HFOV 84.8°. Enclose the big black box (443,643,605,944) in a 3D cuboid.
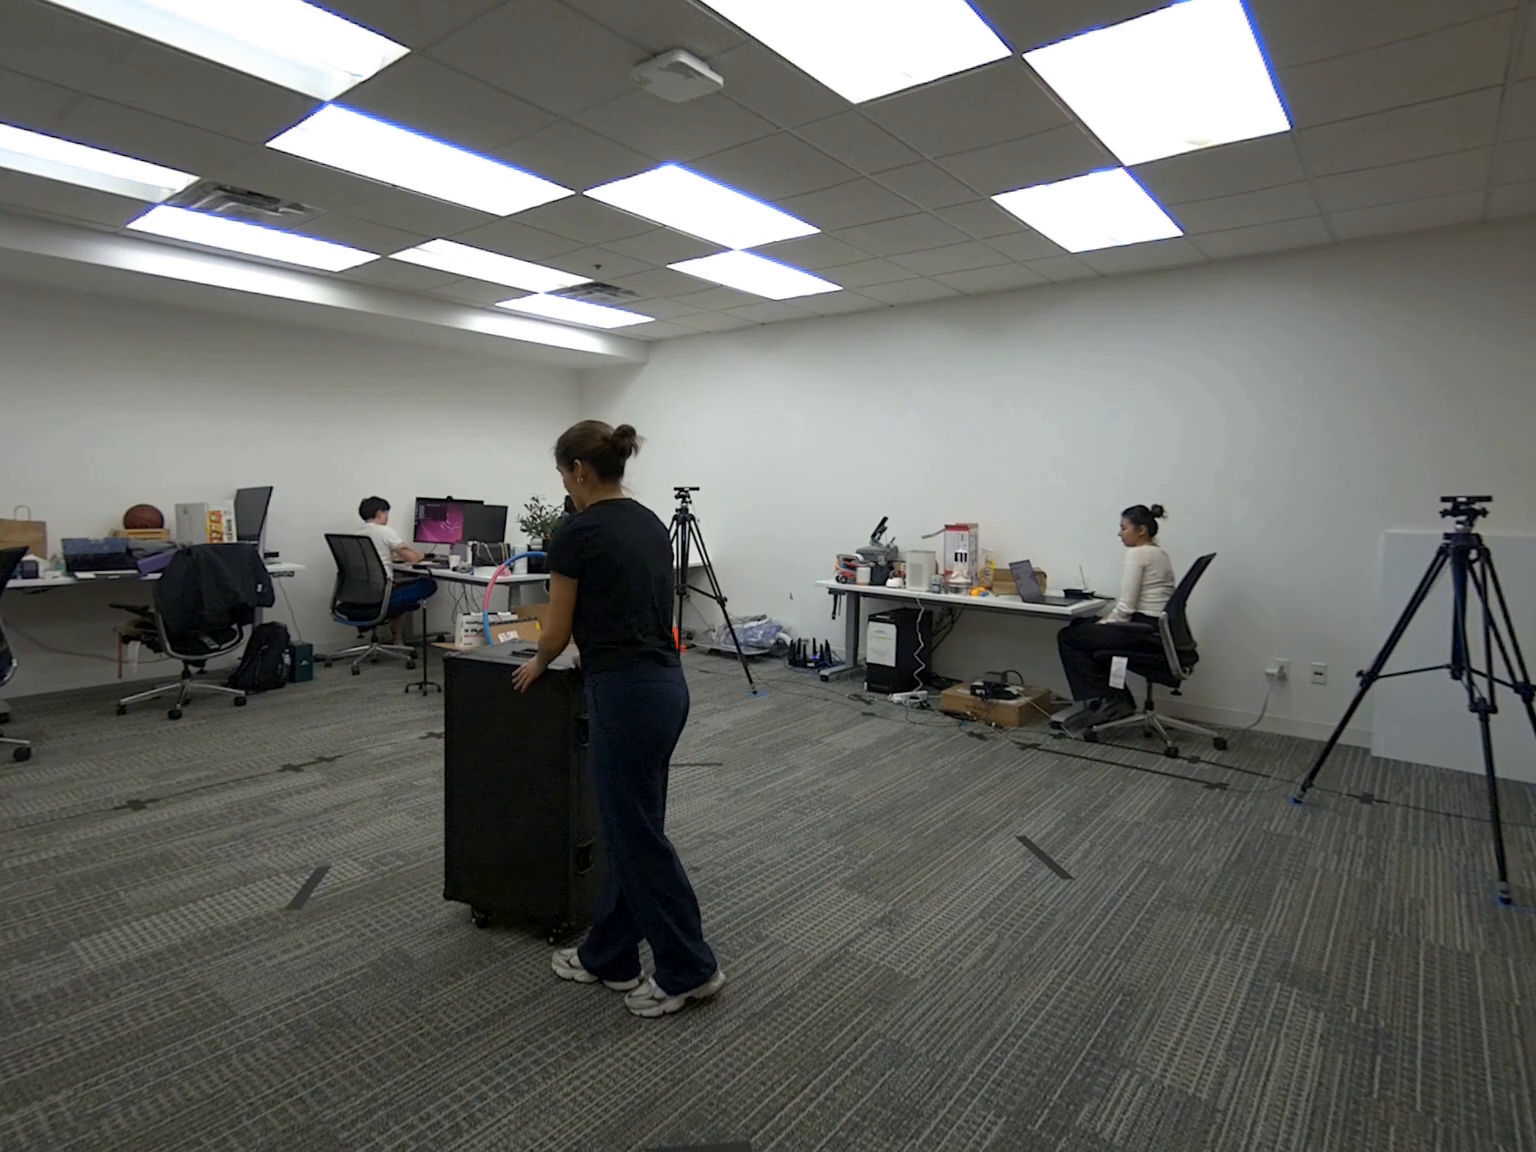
[{"bbox_3d":[-0.736,0.669,2.782,0.534,0.860,0.387,3,2,24],"label":"big black box"}]
